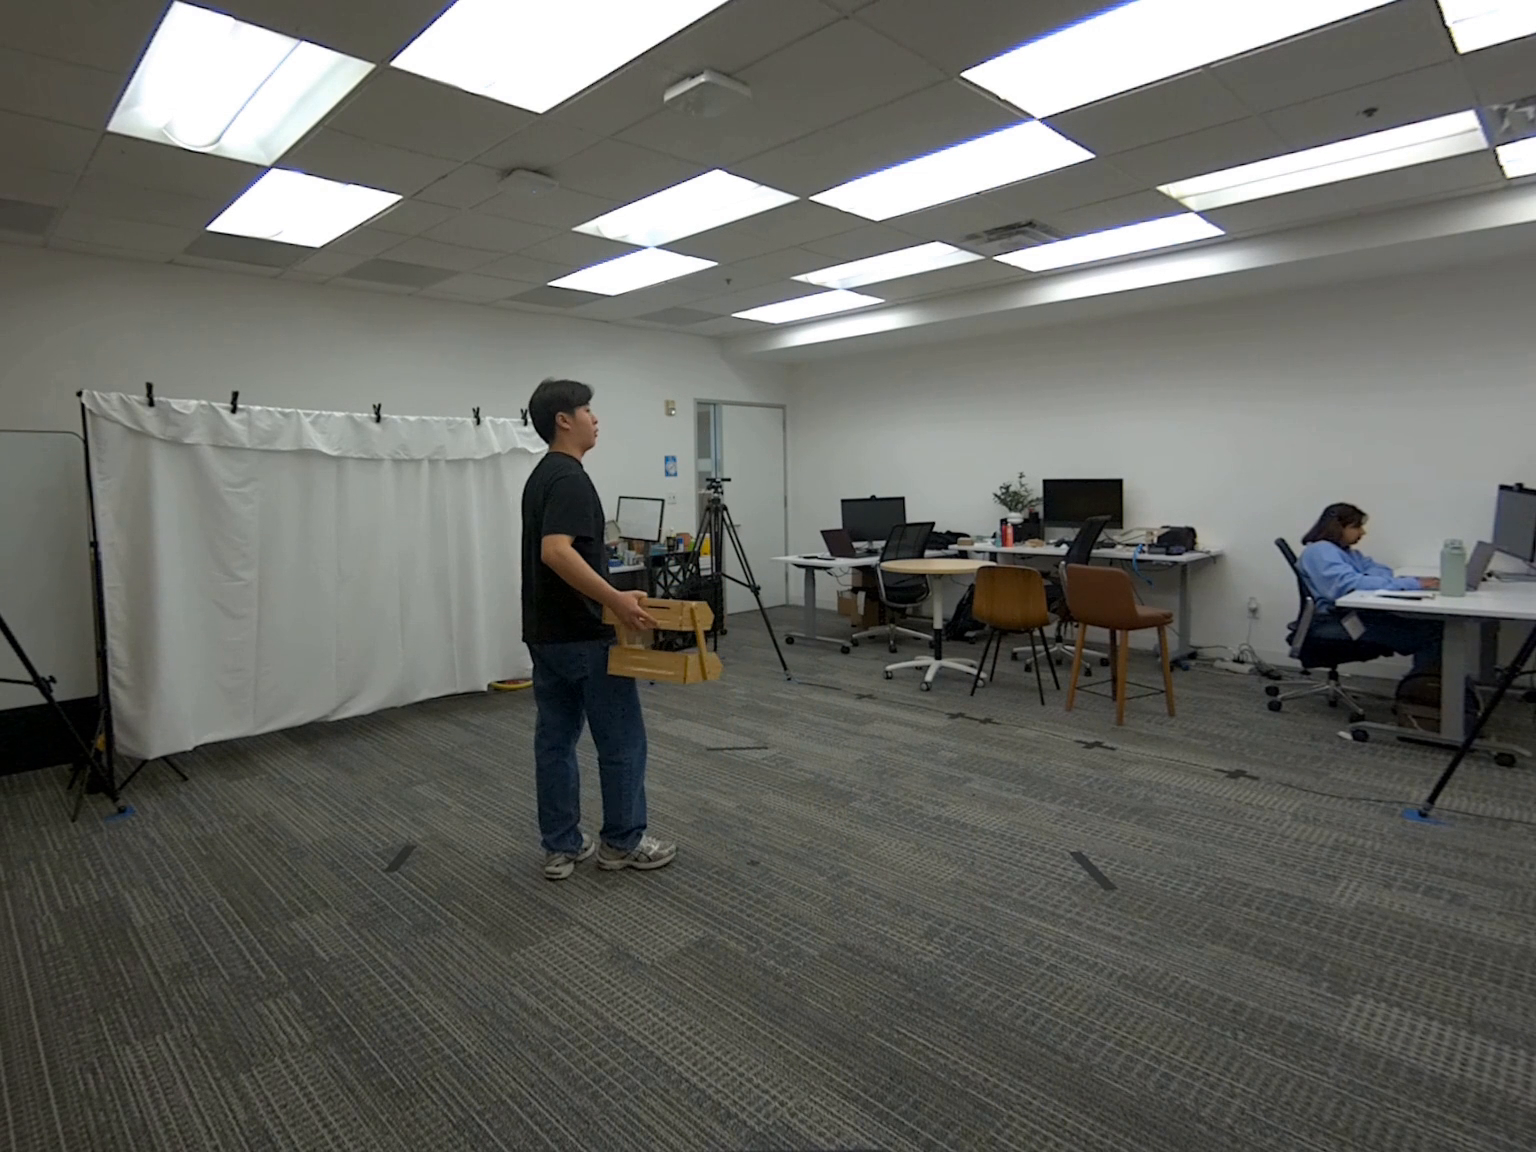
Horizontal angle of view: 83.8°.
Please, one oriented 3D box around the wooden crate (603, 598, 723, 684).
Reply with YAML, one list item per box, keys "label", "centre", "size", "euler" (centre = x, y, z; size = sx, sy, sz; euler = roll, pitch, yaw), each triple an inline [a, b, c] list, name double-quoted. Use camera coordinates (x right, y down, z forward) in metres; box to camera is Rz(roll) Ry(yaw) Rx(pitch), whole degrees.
- label: "wooden crate"
  centre: [-0.340, 0.201, 2.866]
  size: [0.332, 0.274, 0.294]
  euler: [2, -3, 26]
